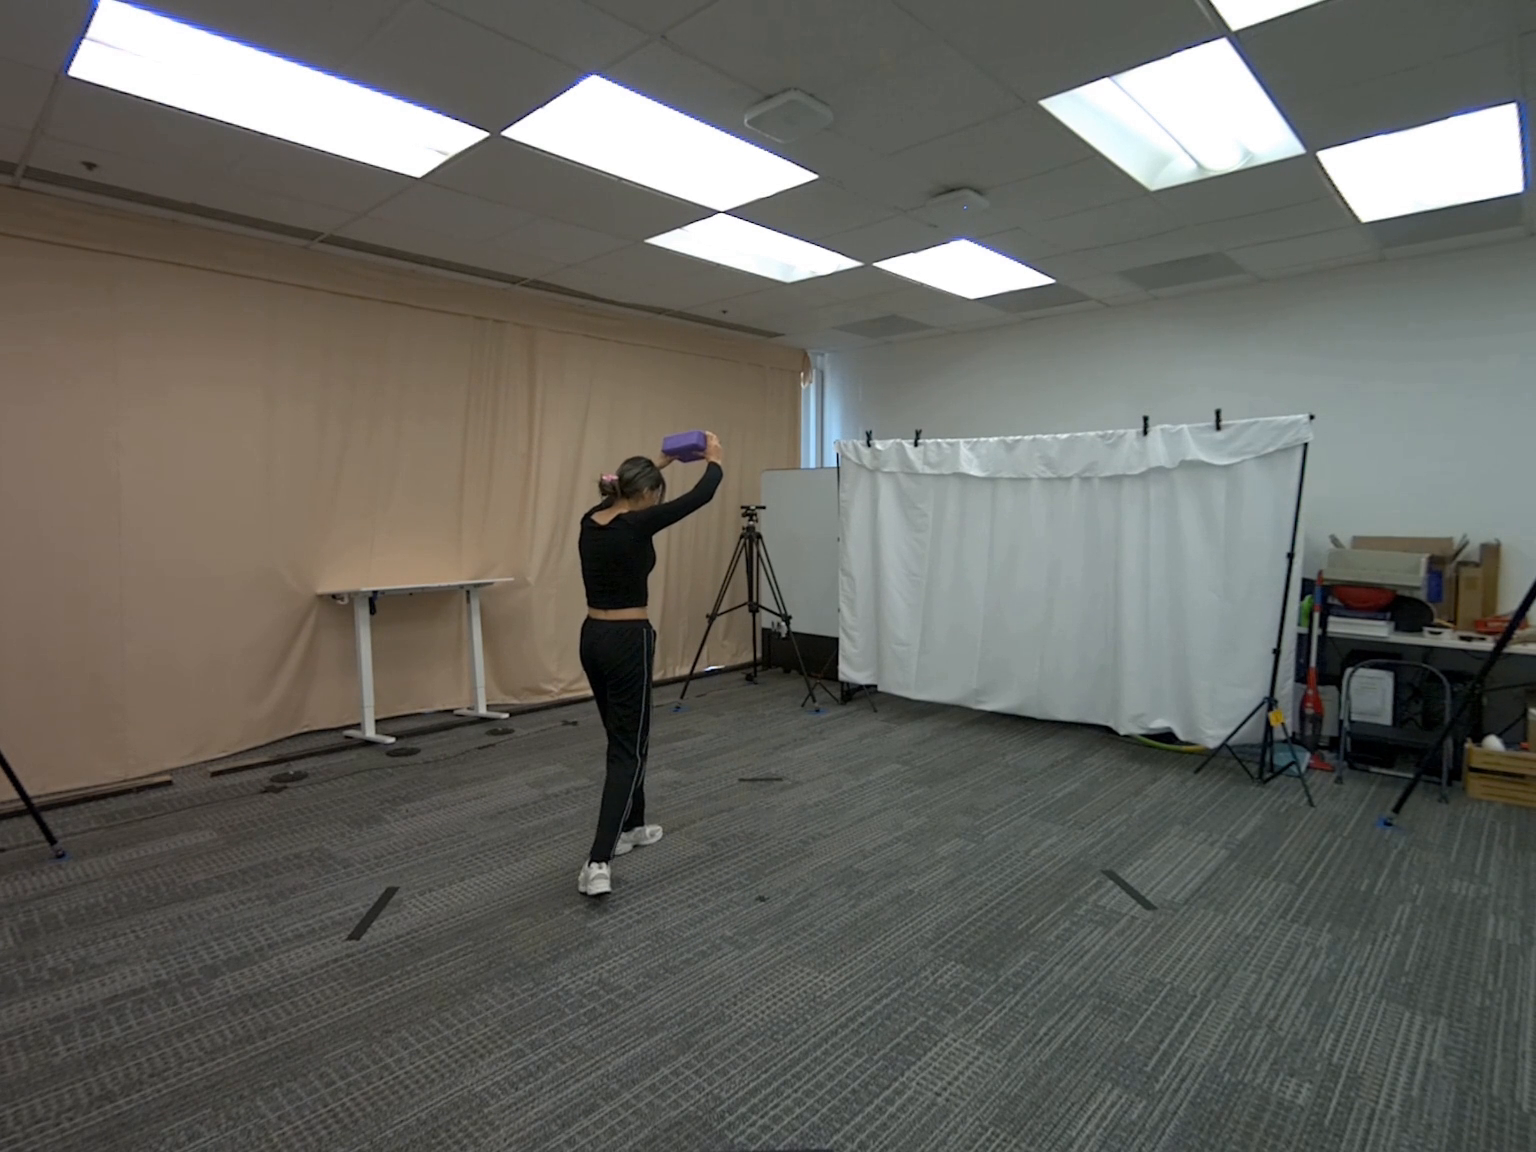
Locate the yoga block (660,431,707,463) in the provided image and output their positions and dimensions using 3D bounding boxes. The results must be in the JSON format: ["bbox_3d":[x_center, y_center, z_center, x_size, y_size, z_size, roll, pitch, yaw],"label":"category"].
[{"bbox_3d":[-0.343,-0.558,3.654,0.236,0.077,0.143,-3,-16,44],"label":"yoga block"}]
